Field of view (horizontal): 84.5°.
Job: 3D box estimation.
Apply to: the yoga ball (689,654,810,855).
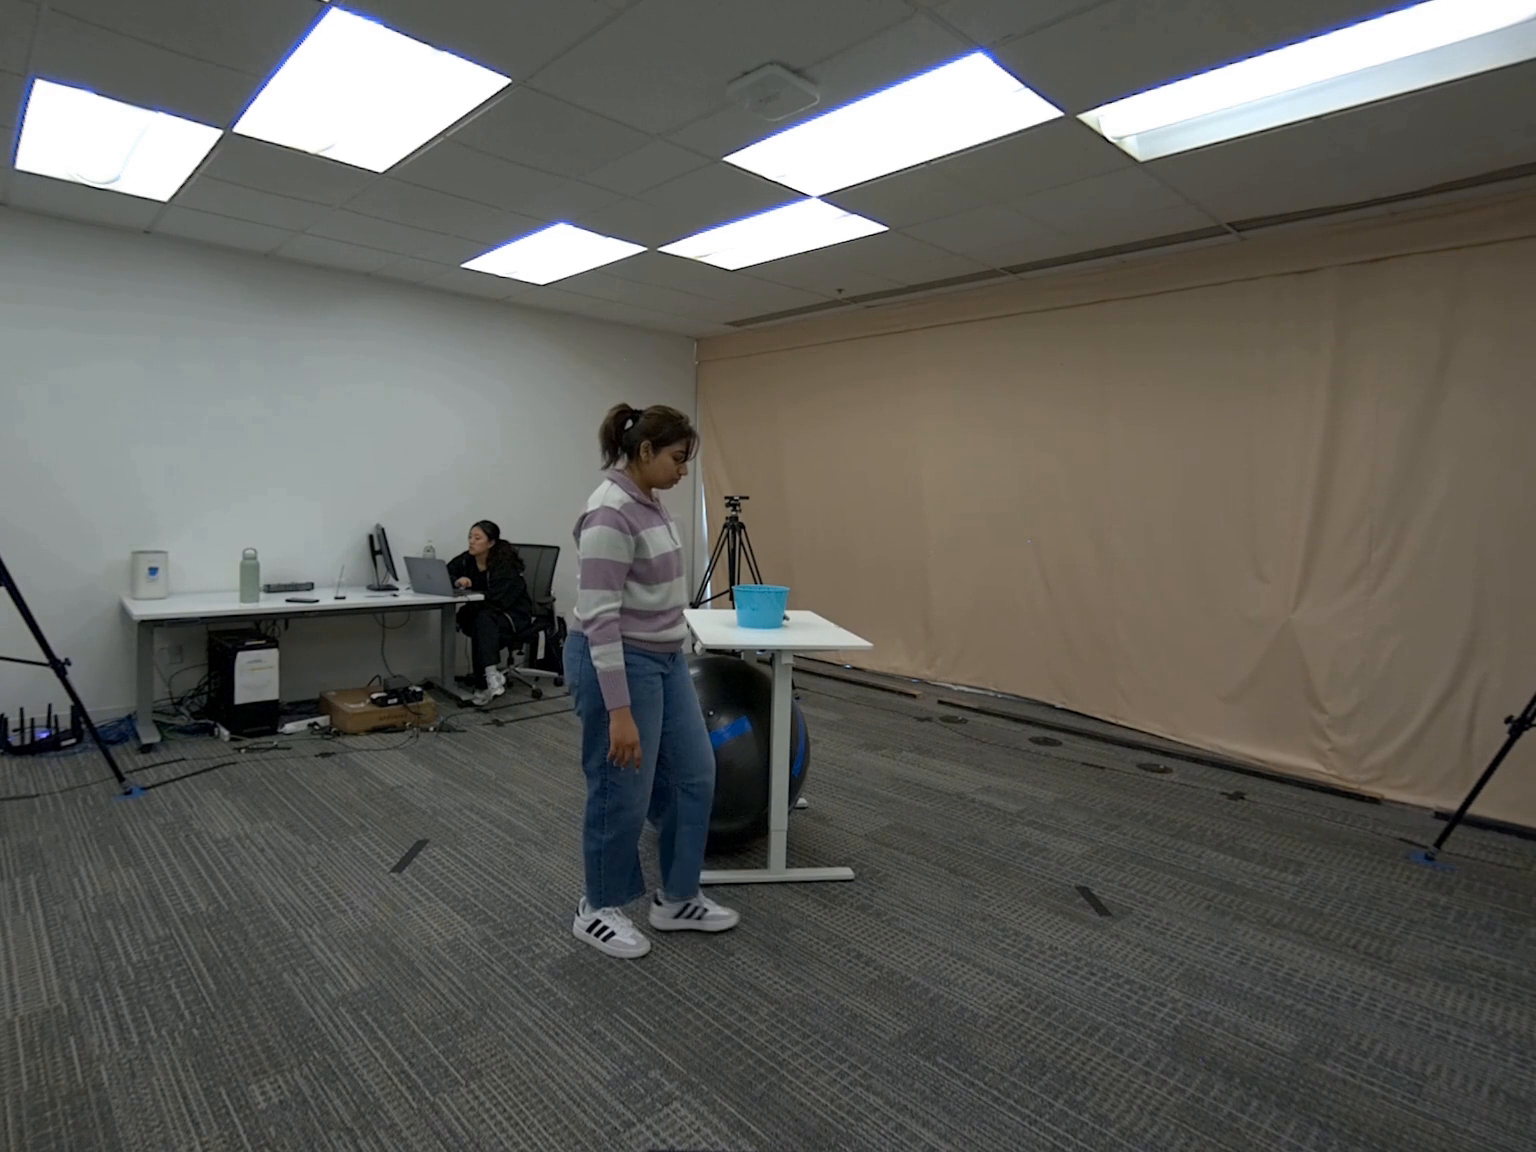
[{"bbox_3d":[-0.219,0.712,3.402,0.757,0.756,0.761,1,4,-1],"label":"yoga ball"}]
